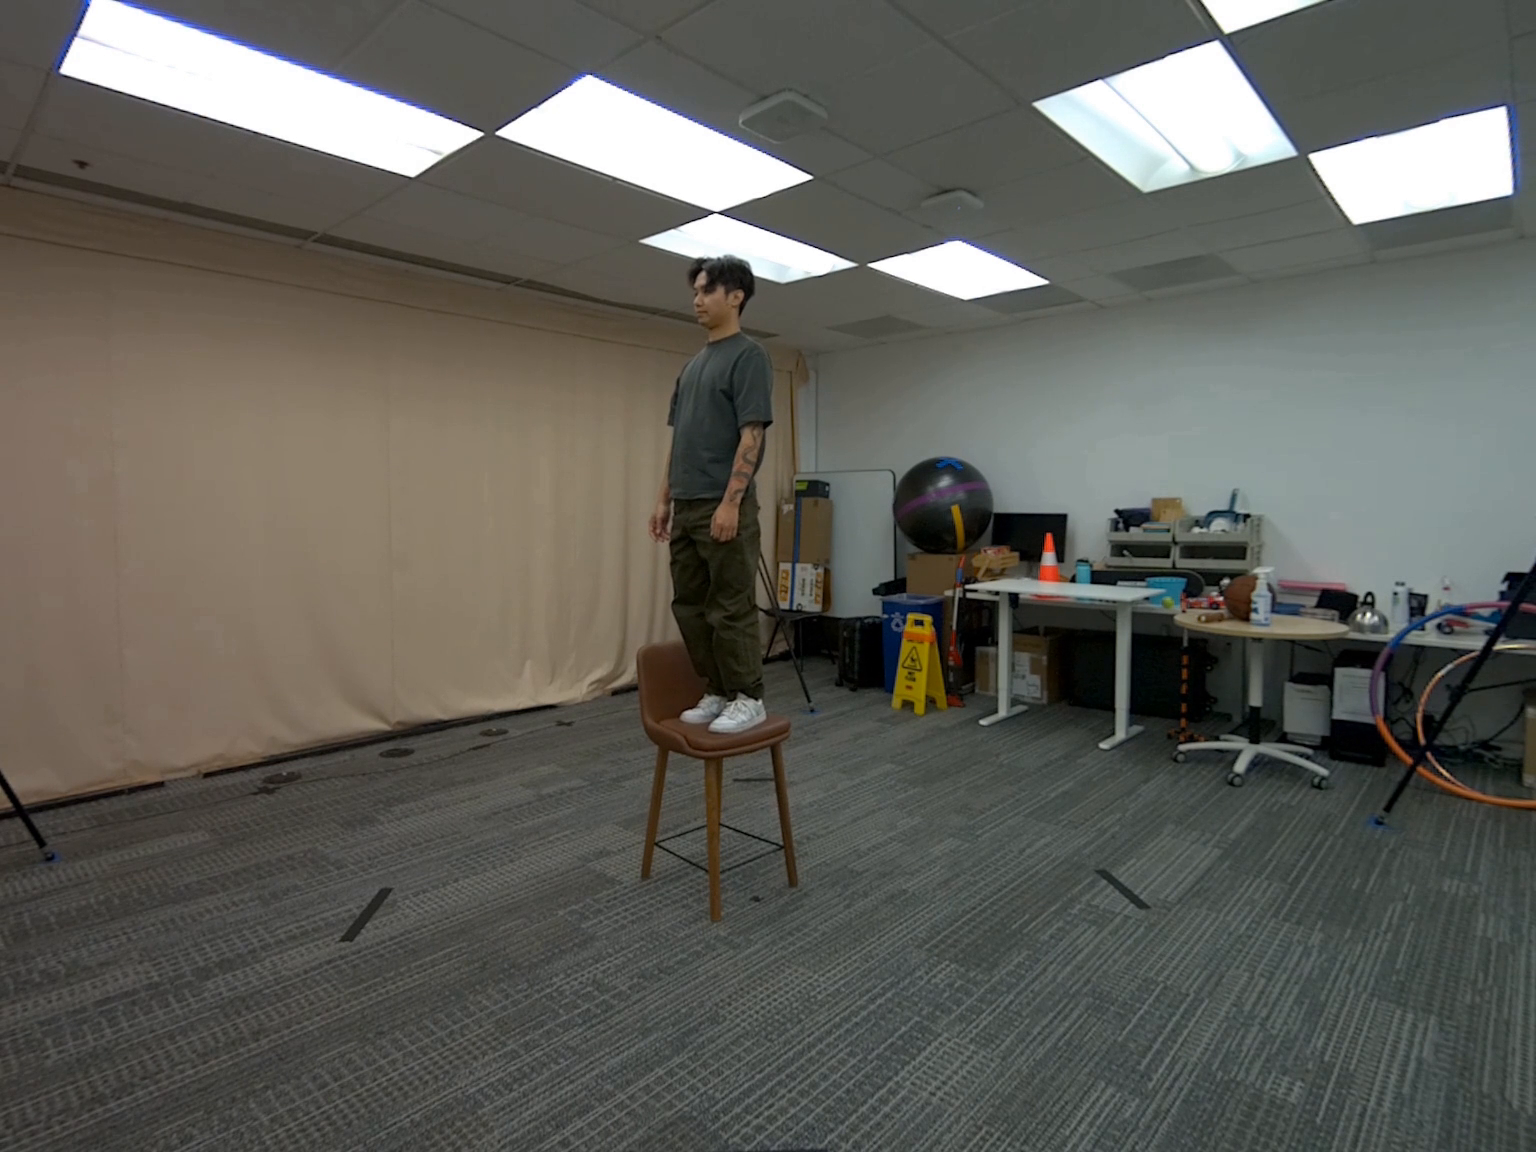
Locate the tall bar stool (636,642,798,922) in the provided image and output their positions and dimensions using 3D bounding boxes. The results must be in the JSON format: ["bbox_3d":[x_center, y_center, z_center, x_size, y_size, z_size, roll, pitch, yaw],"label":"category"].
[{"bbox_3d":[-0.195,0.699,3.097,0.442,0.888,0.483,-3,3,-43],"label":"tall bar stool"}]
